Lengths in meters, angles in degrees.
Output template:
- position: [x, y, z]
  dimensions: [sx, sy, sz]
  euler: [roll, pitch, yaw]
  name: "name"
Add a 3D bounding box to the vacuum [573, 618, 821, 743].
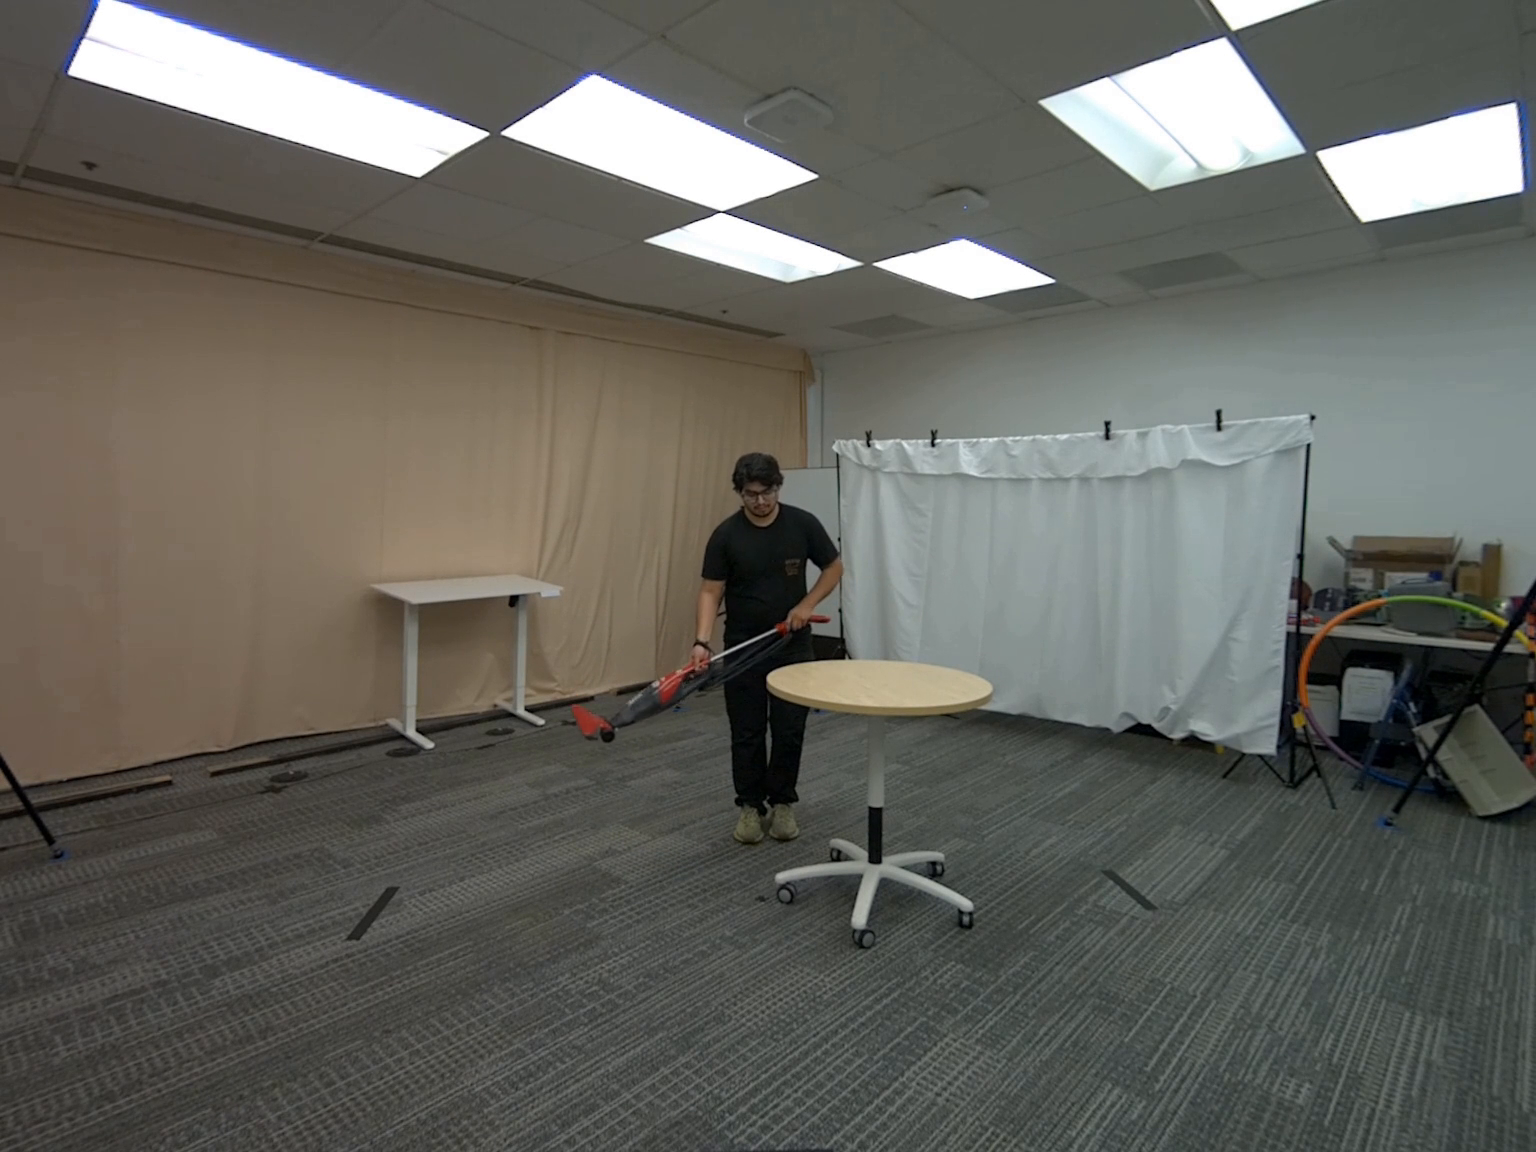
- position: [-0.204, 0.364, 3.351]
  dimensions: [1.040, 0.141, 0.260]
  euler: [-26, 23, -13]
  name: "vacuum"
